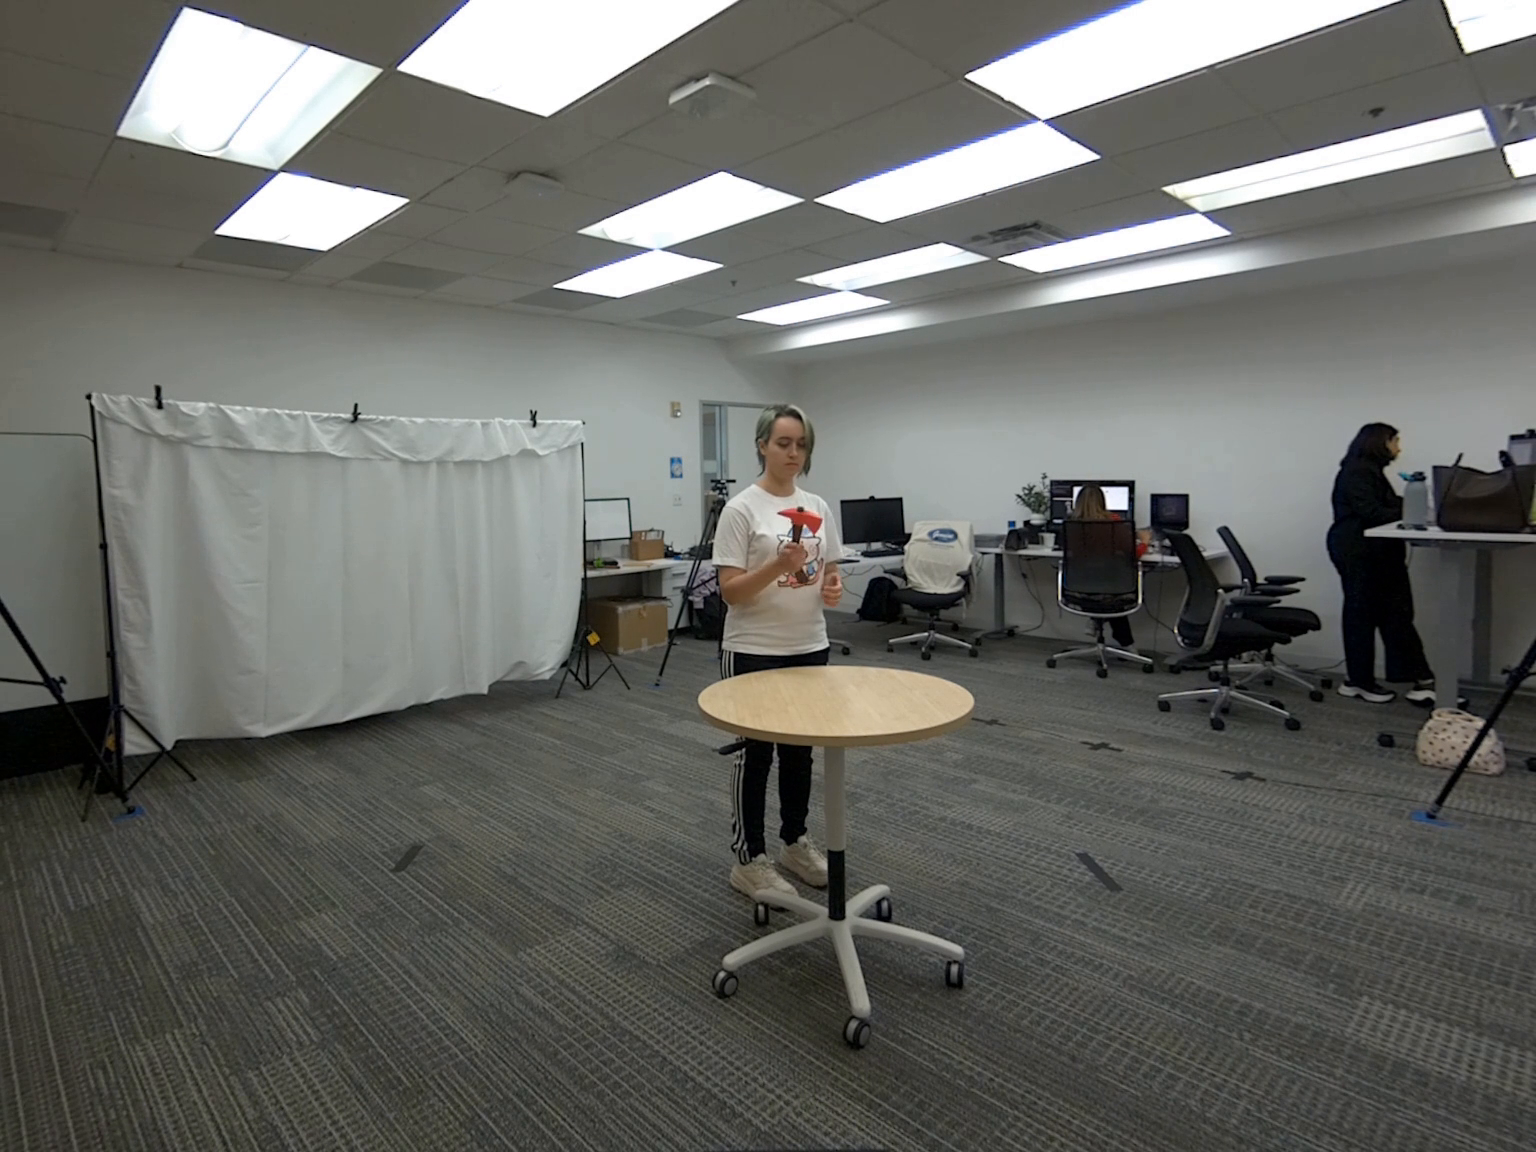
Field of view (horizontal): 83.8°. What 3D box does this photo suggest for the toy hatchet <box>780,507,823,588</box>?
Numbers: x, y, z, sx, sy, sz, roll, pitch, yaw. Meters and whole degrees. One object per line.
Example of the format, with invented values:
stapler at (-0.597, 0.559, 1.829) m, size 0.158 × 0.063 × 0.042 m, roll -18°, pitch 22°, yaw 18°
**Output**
toy hatchet at (0.124, -0.094, 2.589) m, size 0.133 × 0.262 × 0.030 m, roll -6°, pitch 31°, yaw 18°
